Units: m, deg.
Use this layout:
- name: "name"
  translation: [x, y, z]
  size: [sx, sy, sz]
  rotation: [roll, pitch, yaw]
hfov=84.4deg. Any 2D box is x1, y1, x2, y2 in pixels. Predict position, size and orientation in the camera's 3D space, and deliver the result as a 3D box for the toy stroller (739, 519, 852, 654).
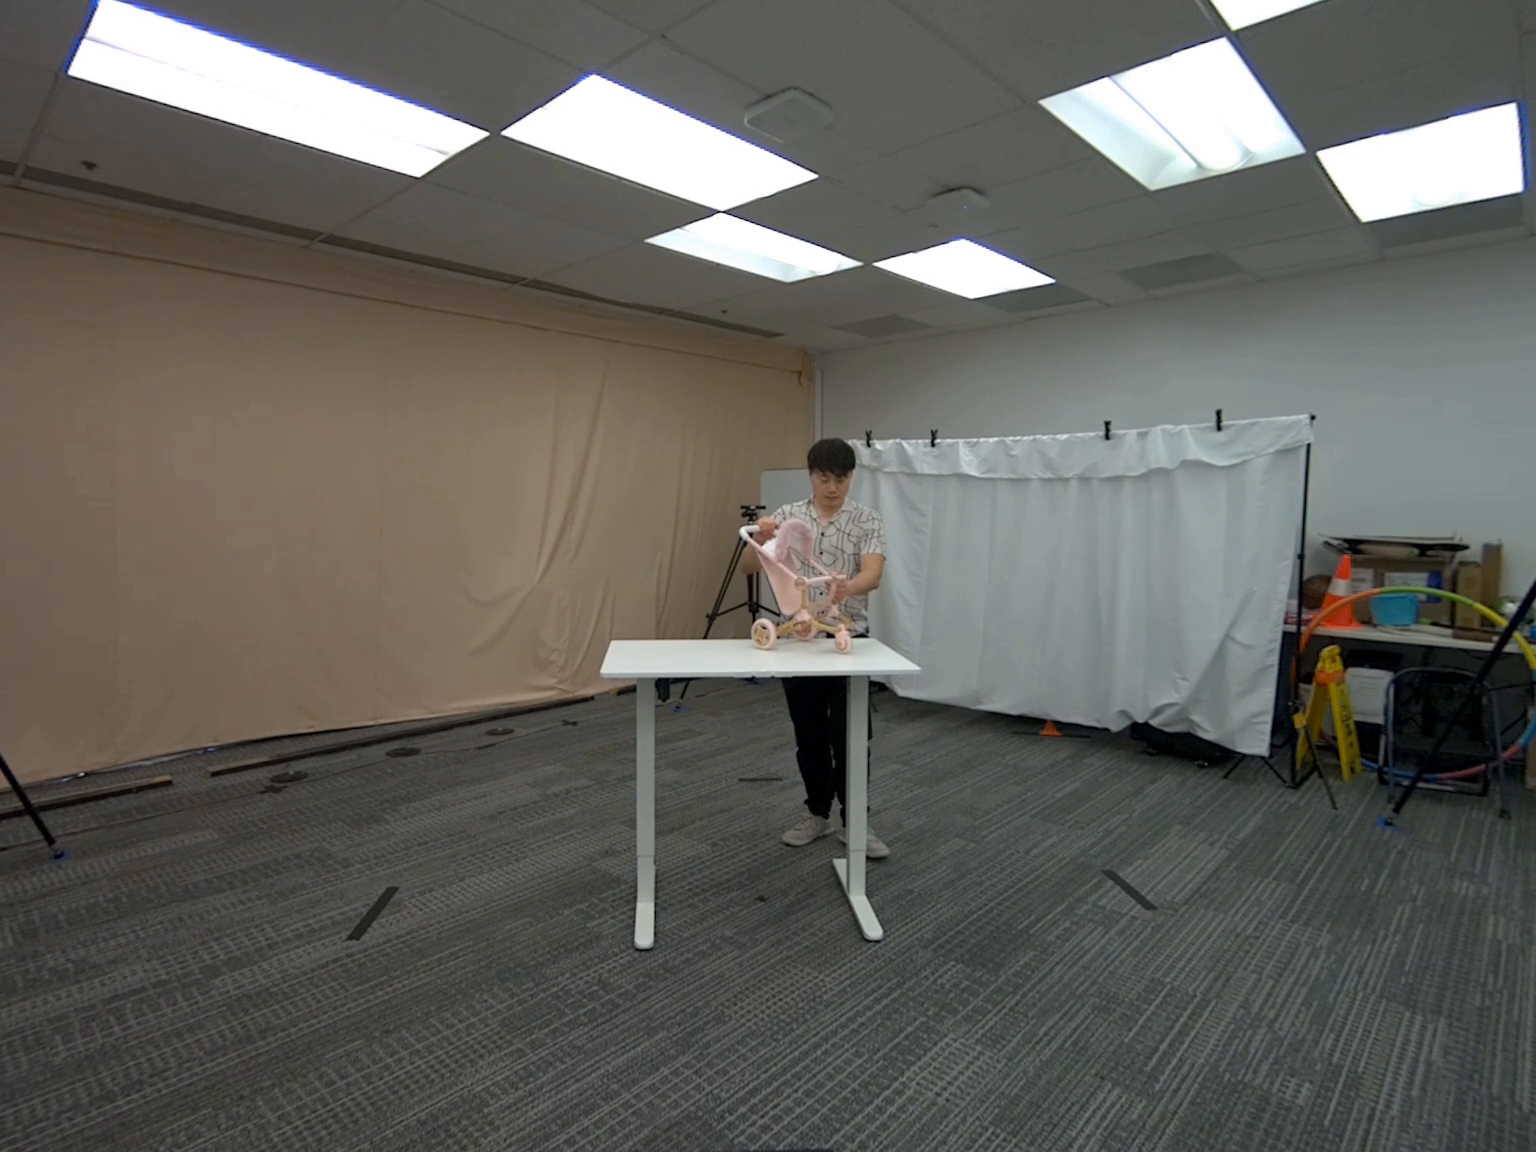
- name: "toy stroller"
  translation: [0.115, 0.033, 3.019]
  size: [0.273, 0.538, 0.350]
  rotation: [-4, -11, -45]
